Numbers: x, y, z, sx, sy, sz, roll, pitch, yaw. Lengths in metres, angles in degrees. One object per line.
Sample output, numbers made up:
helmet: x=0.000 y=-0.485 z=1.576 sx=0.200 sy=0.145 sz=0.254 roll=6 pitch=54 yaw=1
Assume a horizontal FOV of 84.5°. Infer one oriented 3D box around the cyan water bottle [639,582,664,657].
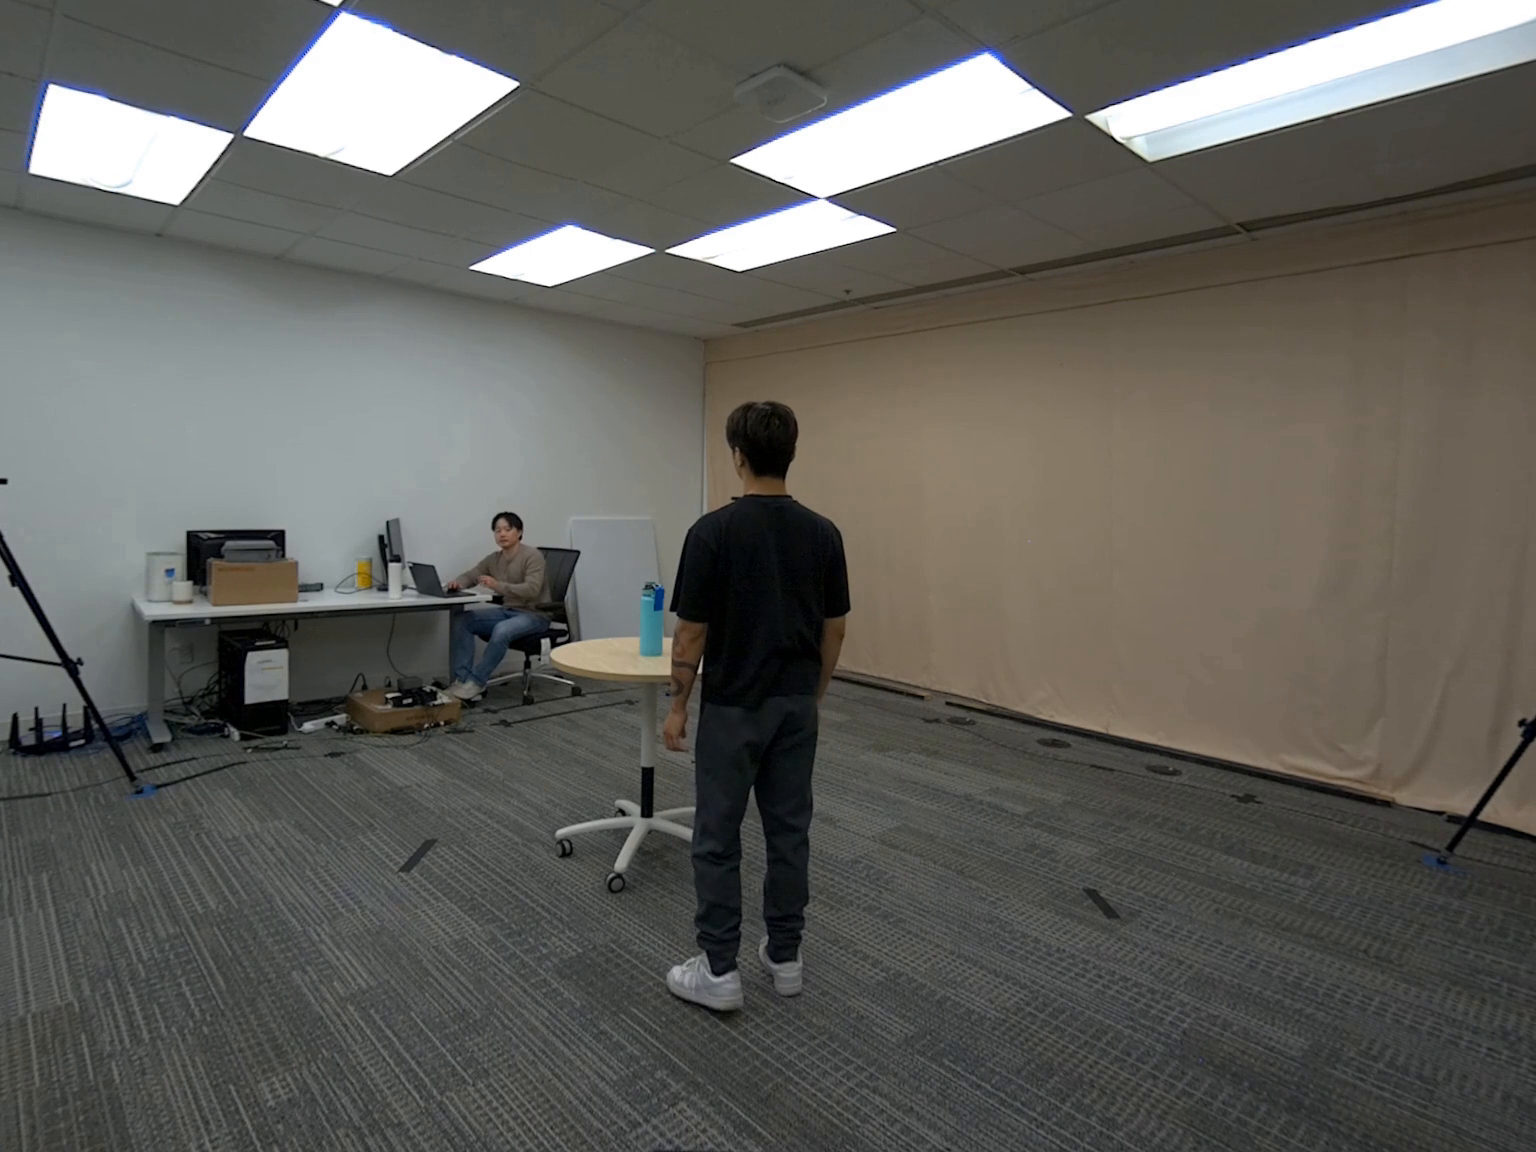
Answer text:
cyan water bottle: x=-0.459 y=0.166 z=3.250 sx=0.092 sy=0.282 sz=0.093 roll=4 pitch=5 yaw=-2
